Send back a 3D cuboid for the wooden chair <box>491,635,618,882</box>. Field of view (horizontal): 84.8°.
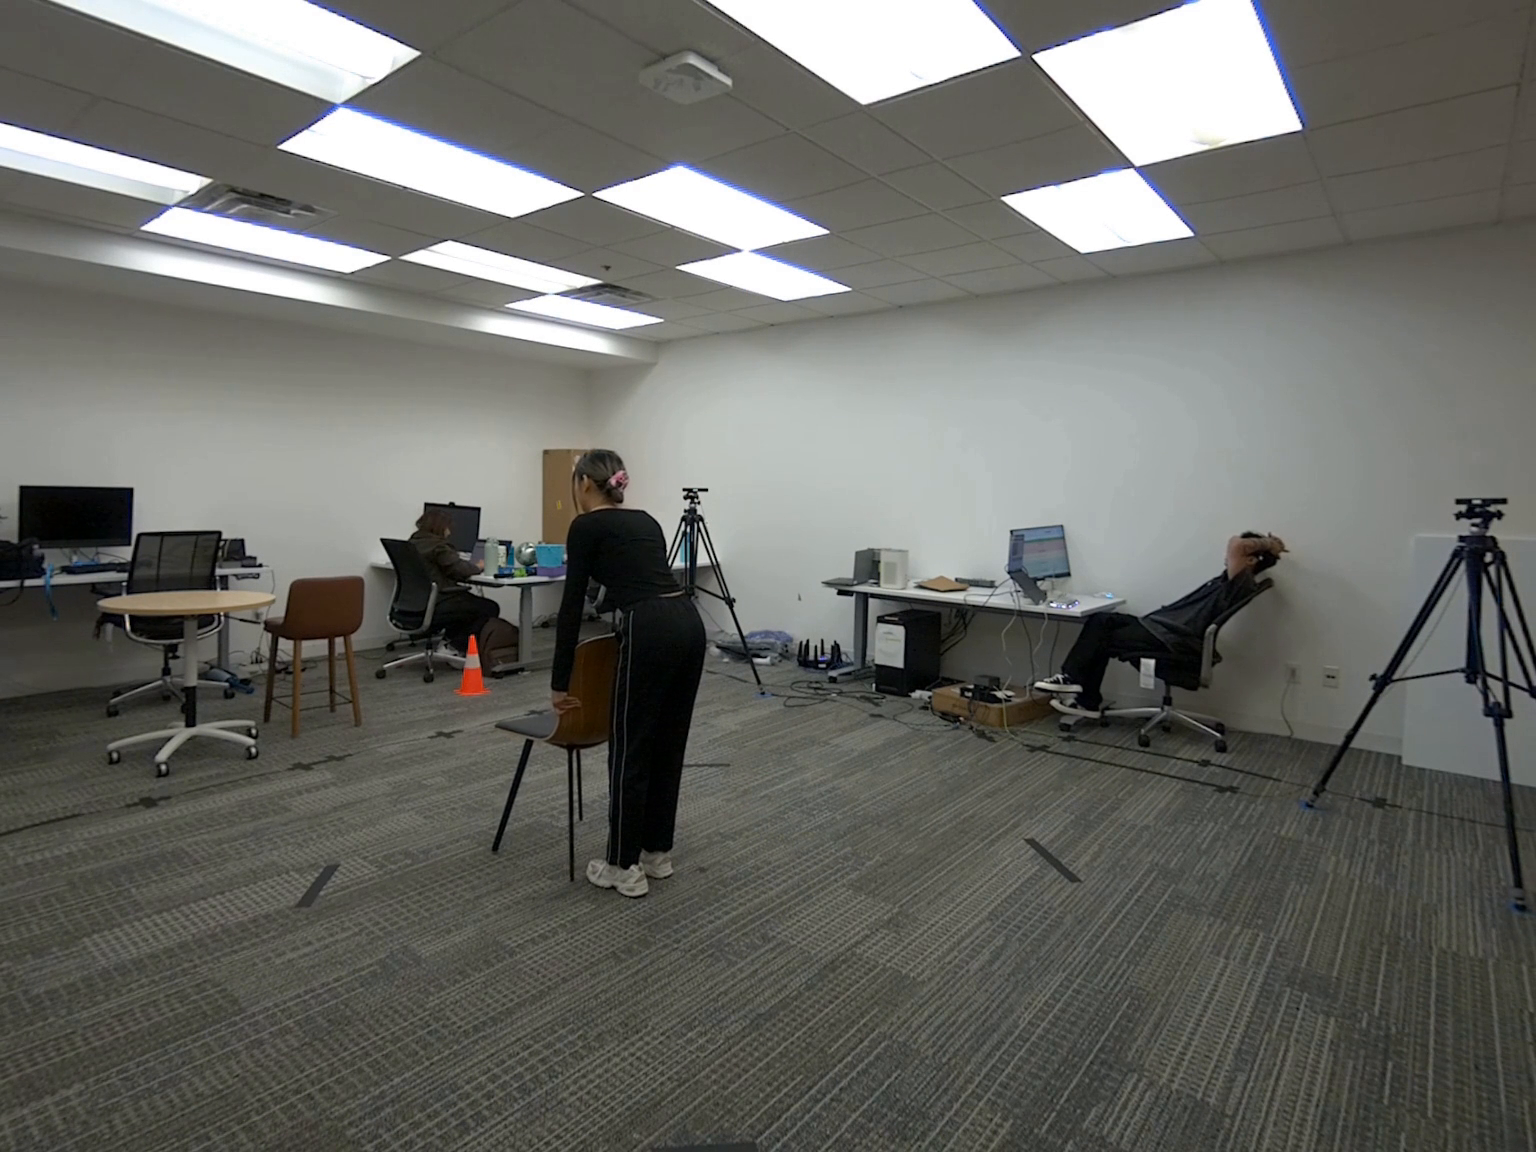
[{"bbox_3d":[-0.756,0.608,3.243,0.541,0.873,0.464,7,6,37],"label":"wooden chair"}]
